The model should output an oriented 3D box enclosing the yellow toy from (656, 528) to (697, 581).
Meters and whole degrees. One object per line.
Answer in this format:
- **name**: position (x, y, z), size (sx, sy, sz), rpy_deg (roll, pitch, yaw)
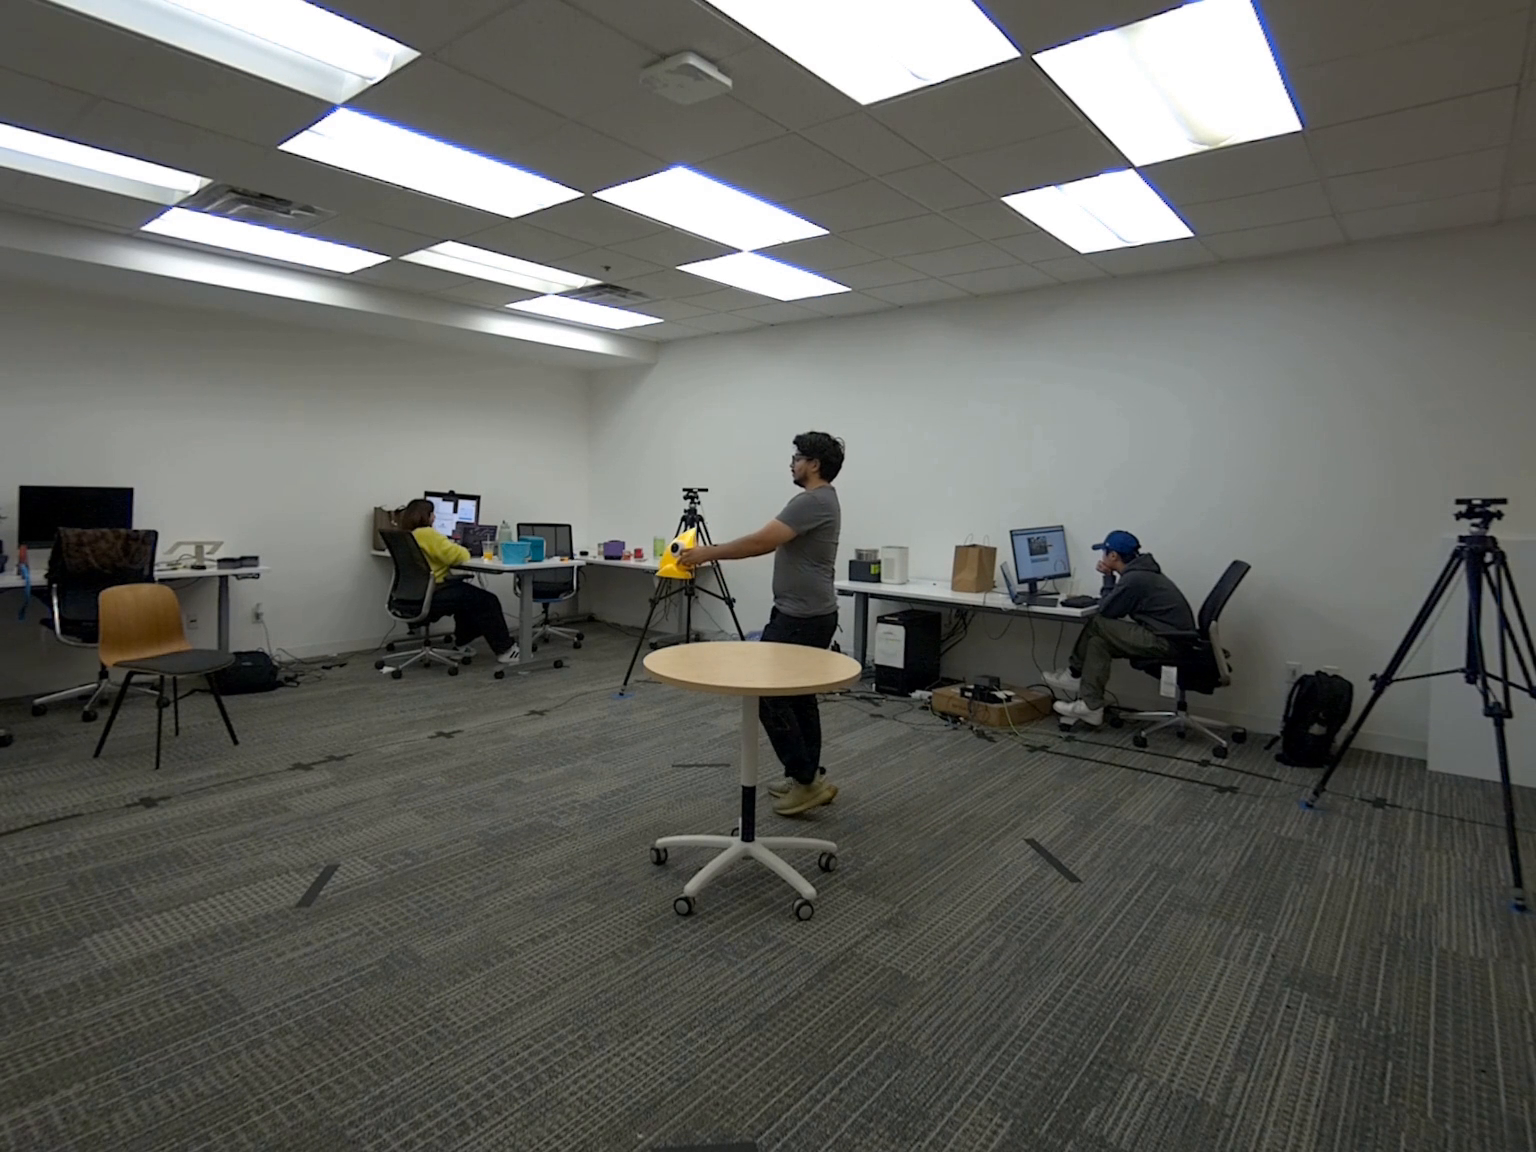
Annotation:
- **yellow toy**: position (-0.414, -0.118, 3.894), size (0.195, 0.230, 0.203), rpy_deg (5, 2, 8)
